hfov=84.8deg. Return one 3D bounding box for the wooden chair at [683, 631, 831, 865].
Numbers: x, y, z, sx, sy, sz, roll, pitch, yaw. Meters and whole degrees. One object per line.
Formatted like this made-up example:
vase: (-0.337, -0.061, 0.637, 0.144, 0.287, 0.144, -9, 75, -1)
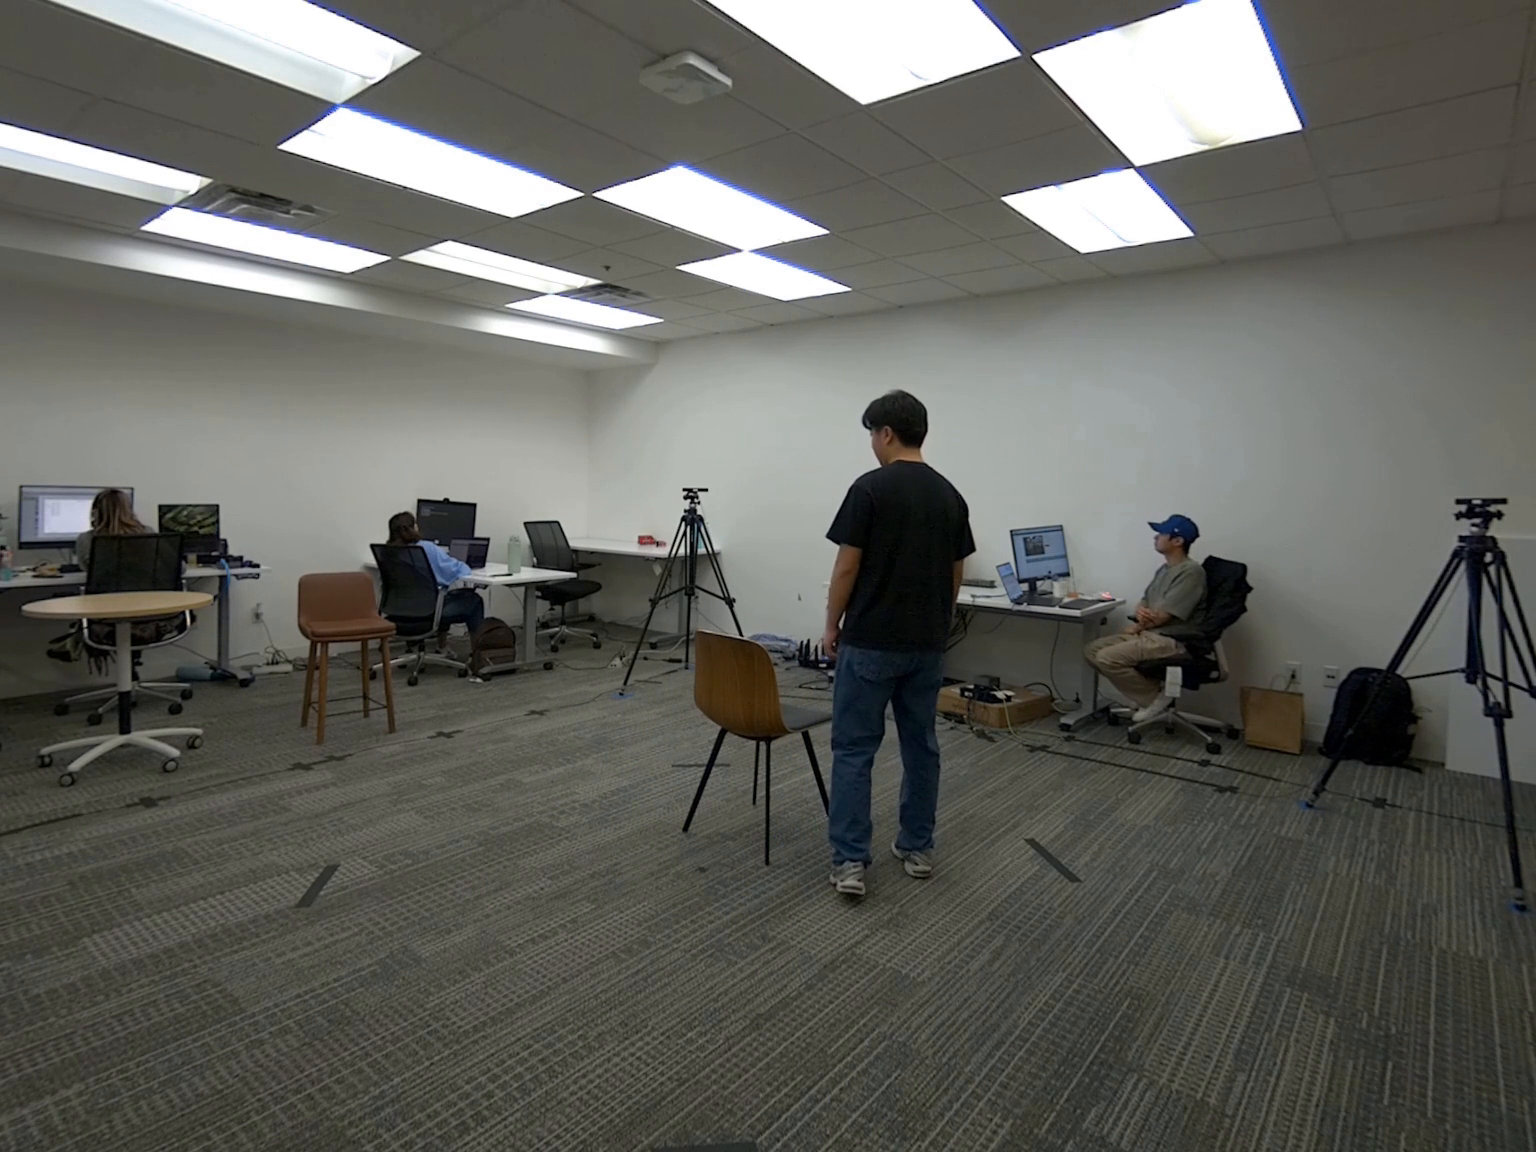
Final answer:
wooden chair: (-0.027, 0.610, 3.445, 0.494, 0.872, 0.509, 4, 8, 40)
